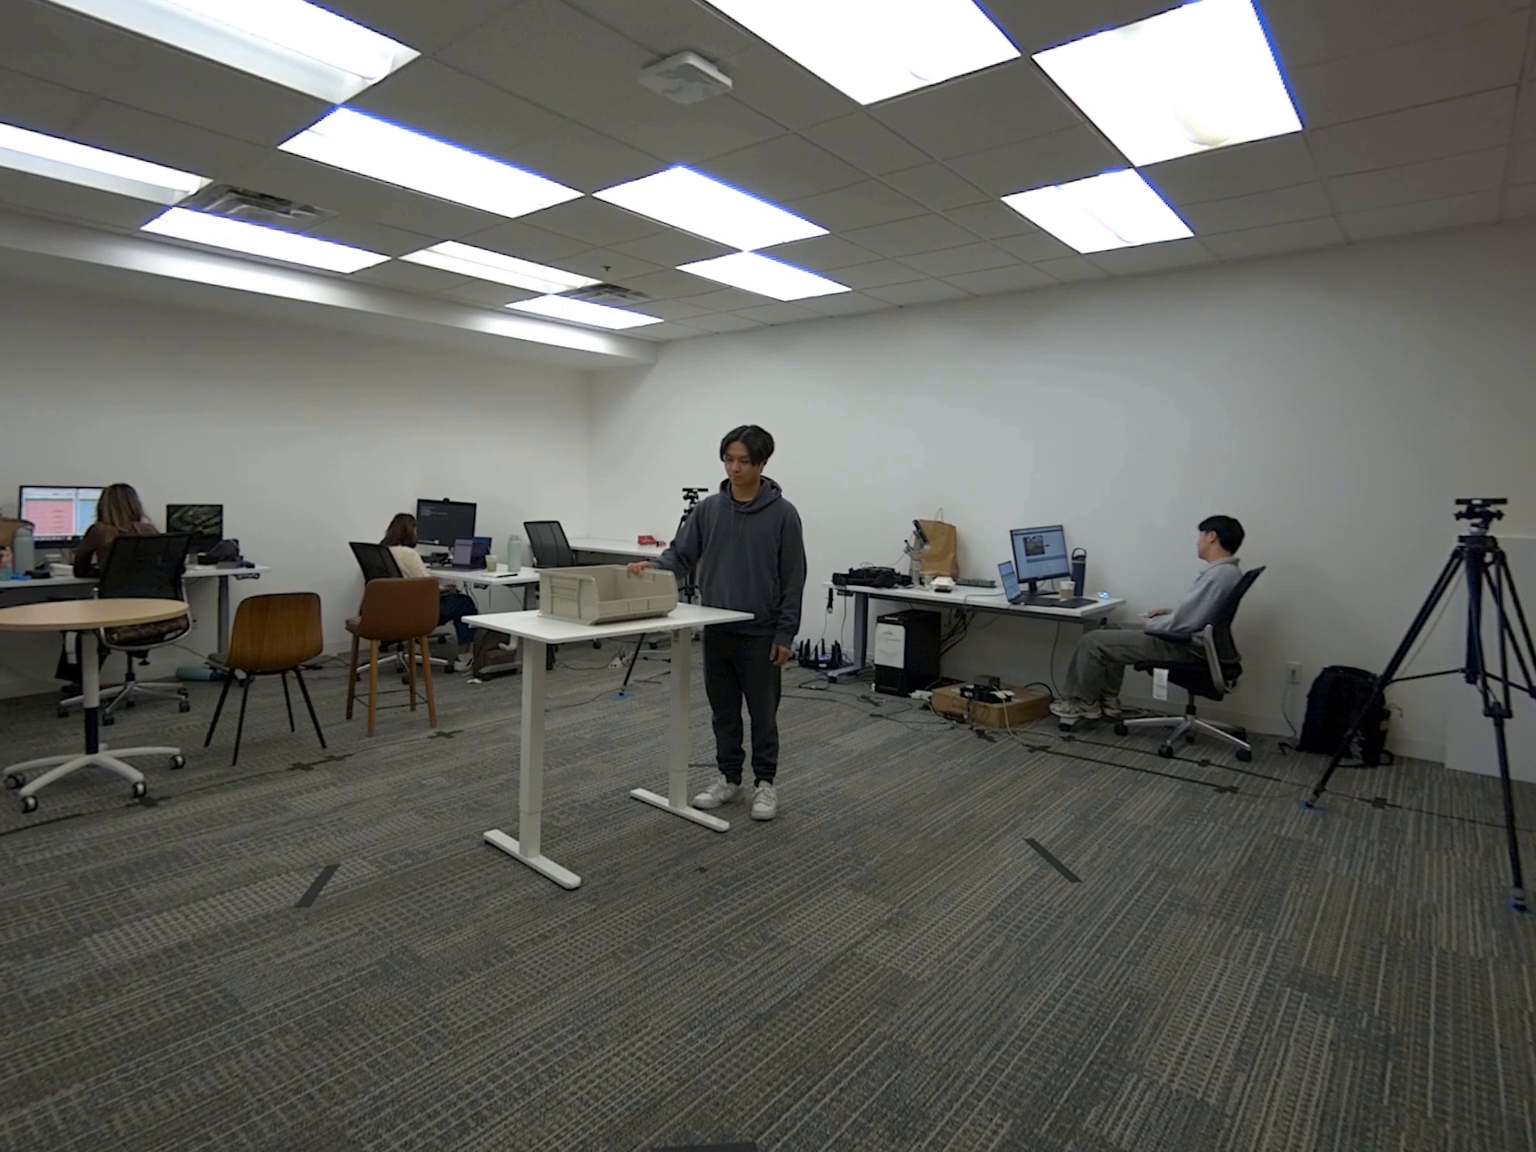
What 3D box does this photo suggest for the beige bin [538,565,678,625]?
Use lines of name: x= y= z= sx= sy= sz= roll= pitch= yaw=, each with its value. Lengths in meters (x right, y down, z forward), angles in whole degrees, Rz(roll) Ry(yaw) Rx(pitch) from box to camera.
beige bin: x=-0.640 y=0.069 z=3.331 sx=0.390 sy=0.188 sz=0.410 roll=5 pitch=6 yaw=40
